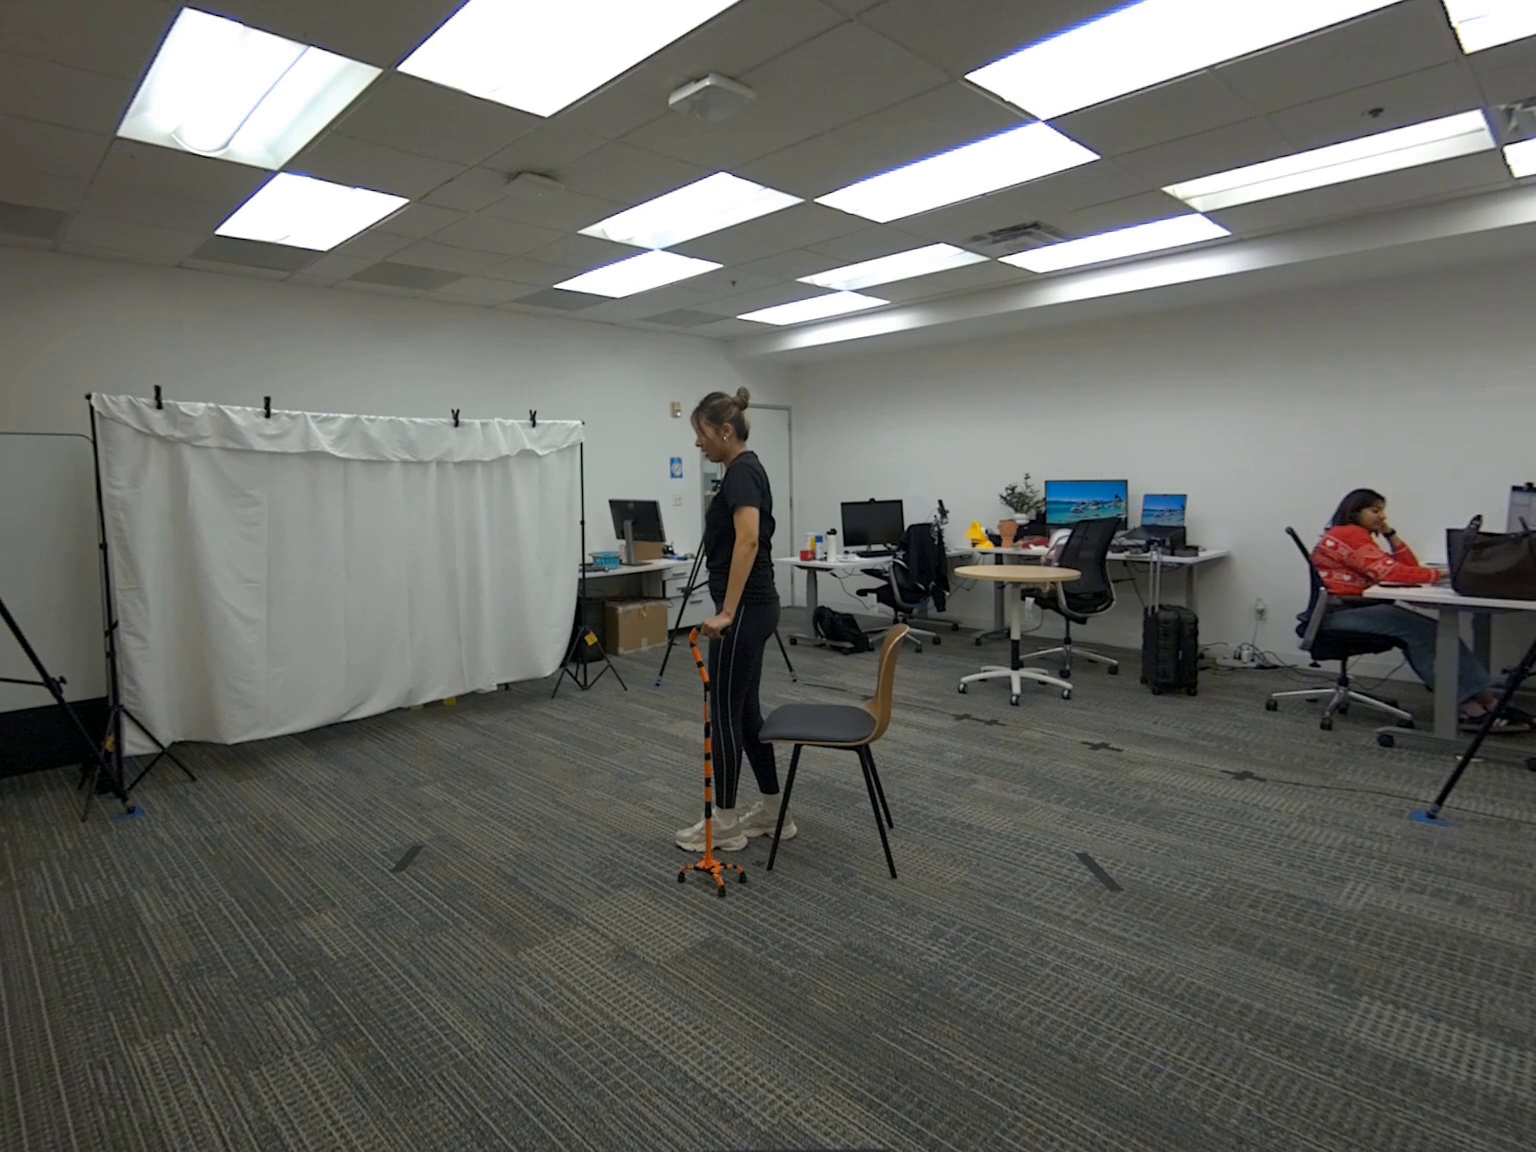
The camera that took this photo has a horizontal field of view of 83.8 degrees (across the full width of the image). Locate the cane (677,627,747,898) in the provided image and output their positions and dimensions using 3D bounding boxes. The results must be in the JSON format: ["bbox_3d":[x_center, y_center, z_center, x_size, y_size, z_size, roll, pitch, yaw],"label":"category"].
[{"bbox_3d":[-0.193,0.623,2.940,0.213,0.904,0.148,4,6,37],"label":"cane"}]
